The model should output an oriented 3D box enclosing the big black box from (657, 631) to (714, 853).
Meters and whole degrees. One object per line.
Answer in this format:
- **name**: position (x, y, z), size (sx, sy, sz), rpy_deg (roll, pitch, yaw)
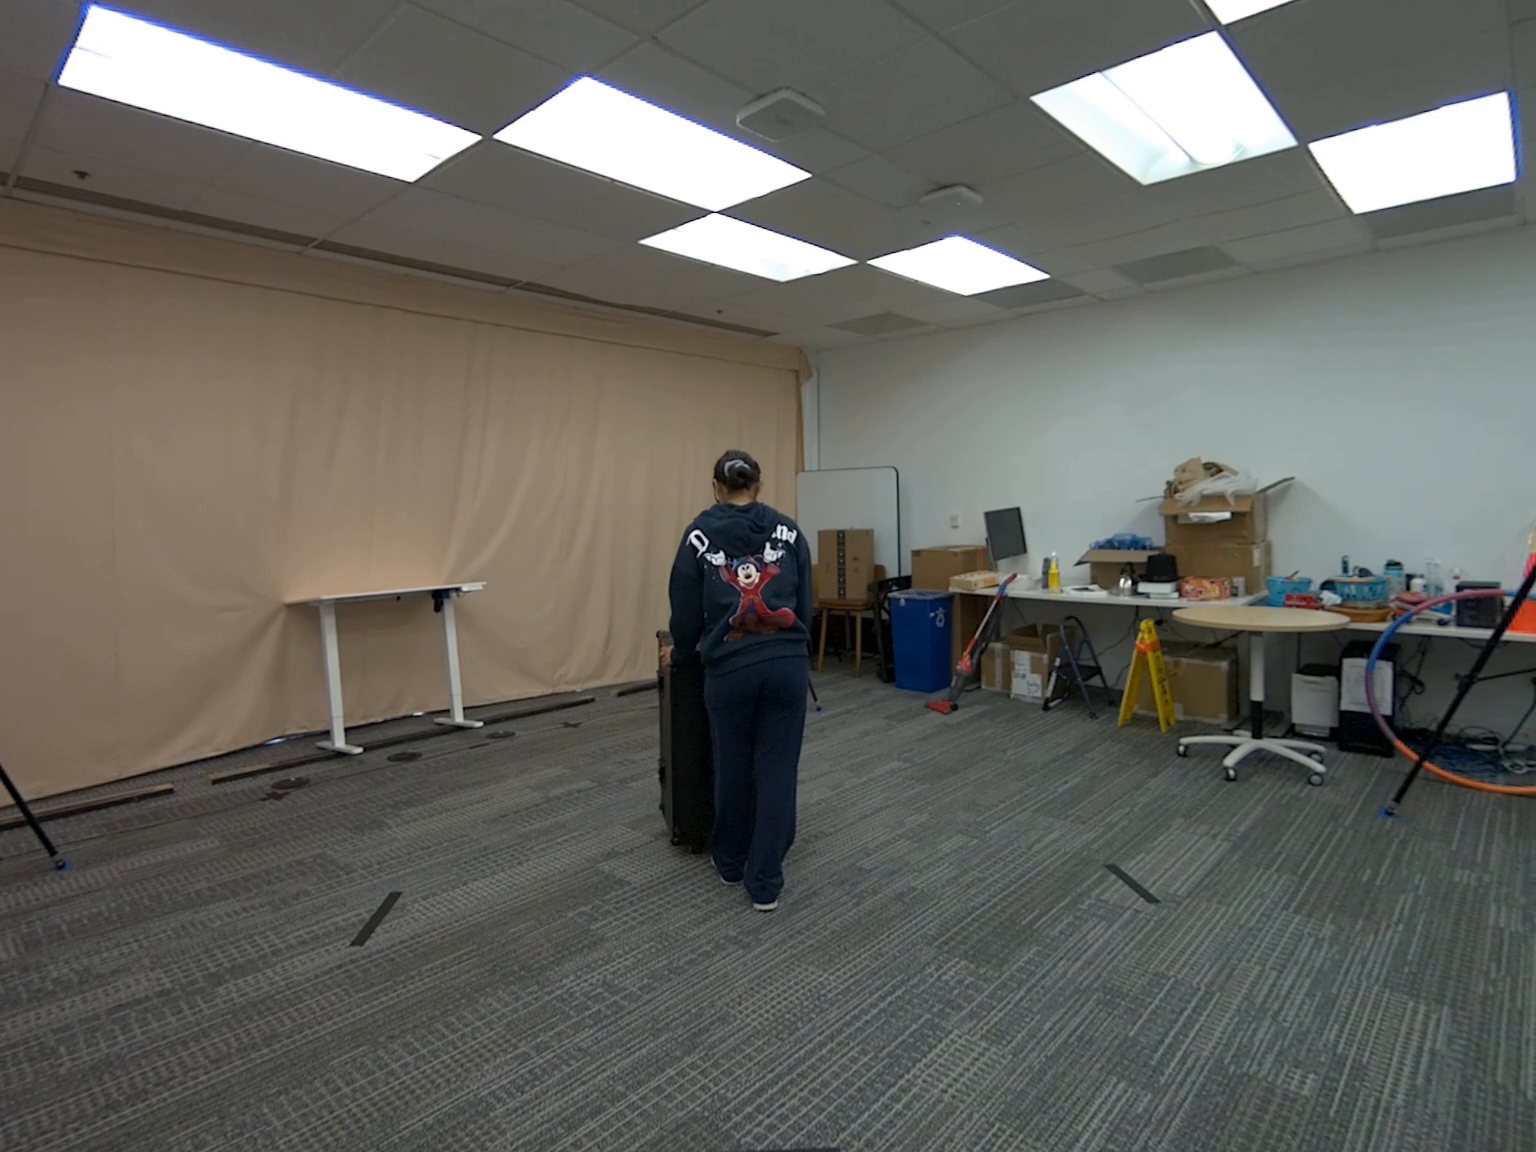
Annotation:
- **big black box**: position (-0.178, 0.670, 3.460), size (0.515, 0.857, 0.403), rpy_deg (-1, 9, -13)
